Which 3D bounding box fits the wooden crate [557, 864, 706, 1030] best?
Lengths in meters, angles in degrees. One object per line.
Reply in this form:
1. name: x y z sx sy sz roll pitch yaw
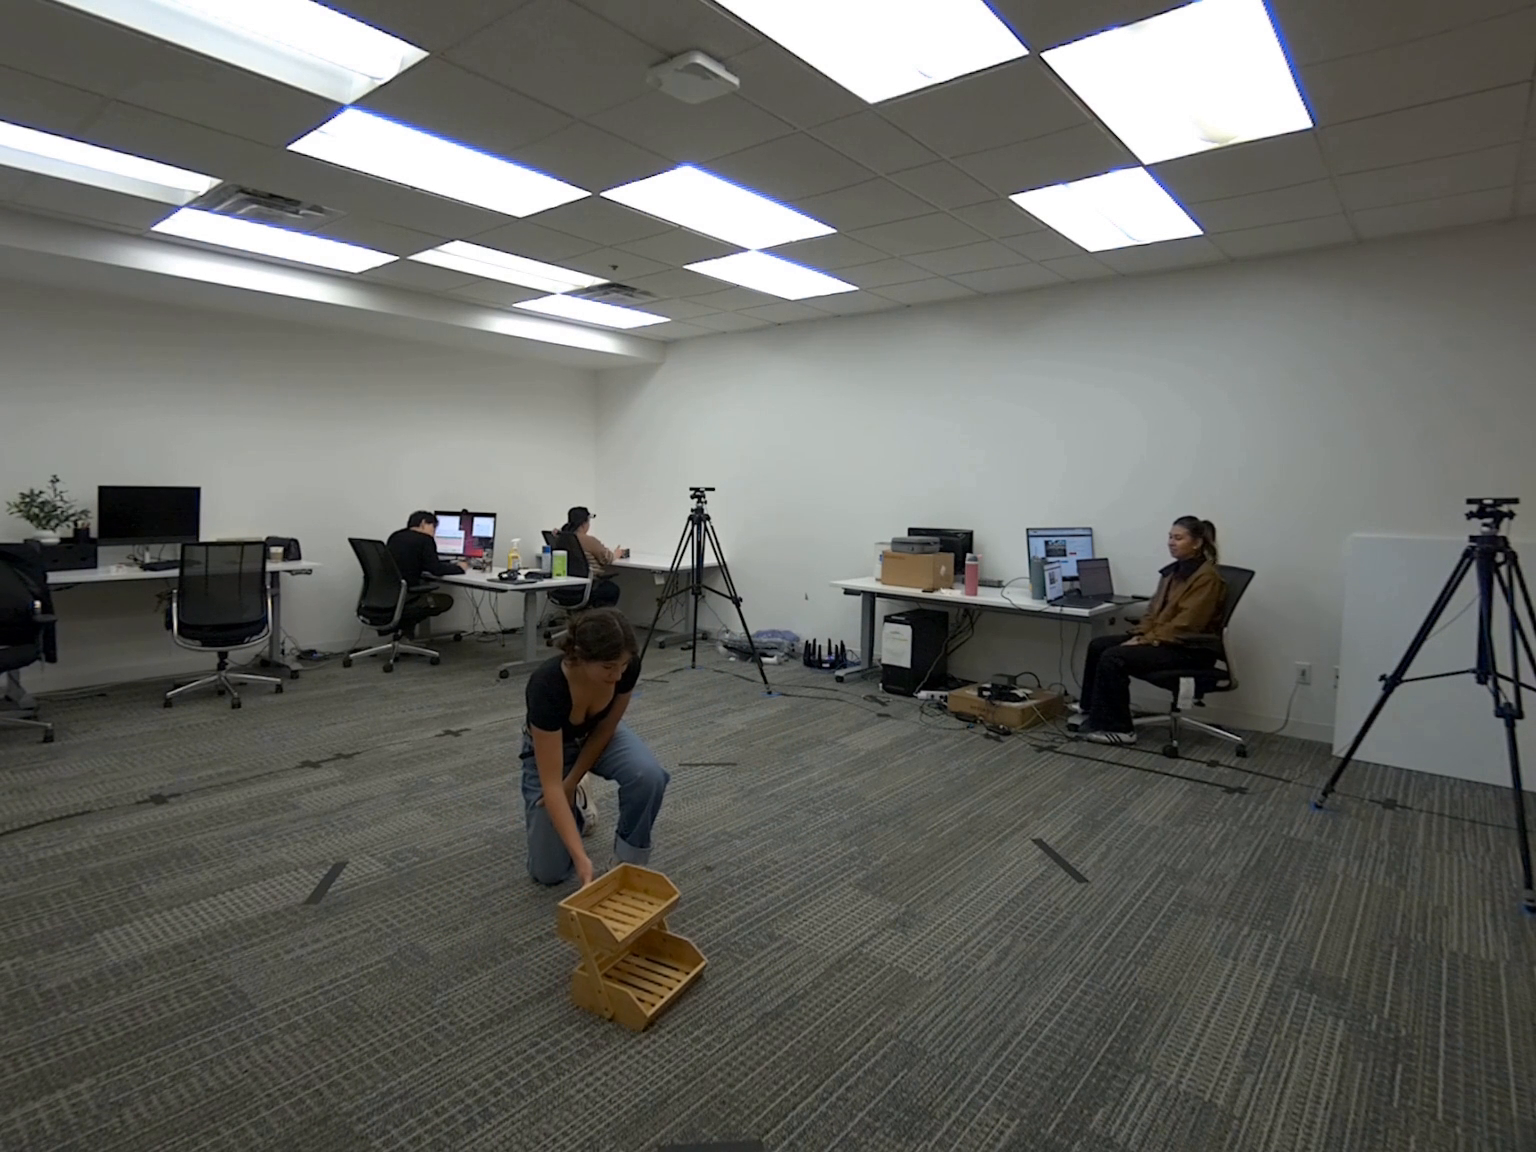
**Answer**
1. wooden crate: -0.375 1.004 2.352 0.310 0.272 0.317 2 5 28
